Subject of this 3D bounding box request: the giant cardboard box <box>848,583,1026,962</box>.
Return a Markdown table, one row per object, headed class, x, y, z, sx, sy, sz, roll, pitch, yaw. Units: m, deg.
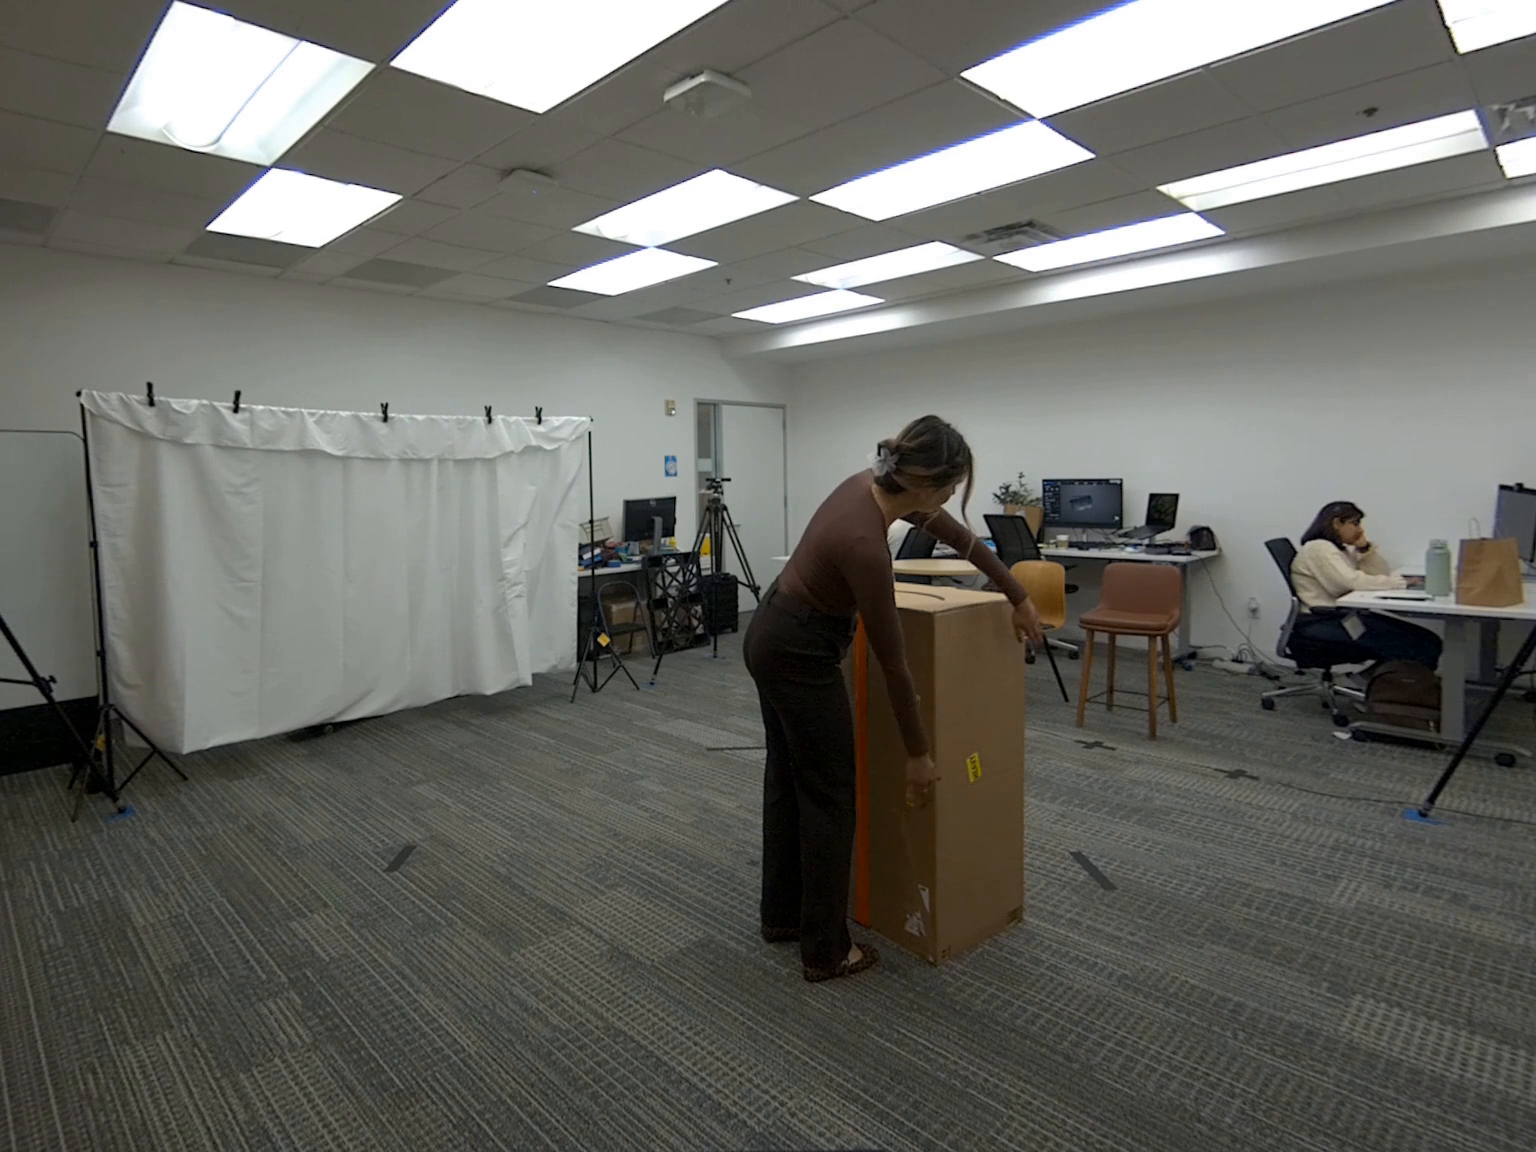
| class | x | y | z | sx | sy | sz | roll | pitch | yaw |
| --- | --- | --- | --- | --- | --- | --- | --- | --- | --- |
| giant cardboard box | 0.454 | 0.564 | 2.750 | 0.435 | 1.023 | 0.601 | -5 | 6 | -37 |
